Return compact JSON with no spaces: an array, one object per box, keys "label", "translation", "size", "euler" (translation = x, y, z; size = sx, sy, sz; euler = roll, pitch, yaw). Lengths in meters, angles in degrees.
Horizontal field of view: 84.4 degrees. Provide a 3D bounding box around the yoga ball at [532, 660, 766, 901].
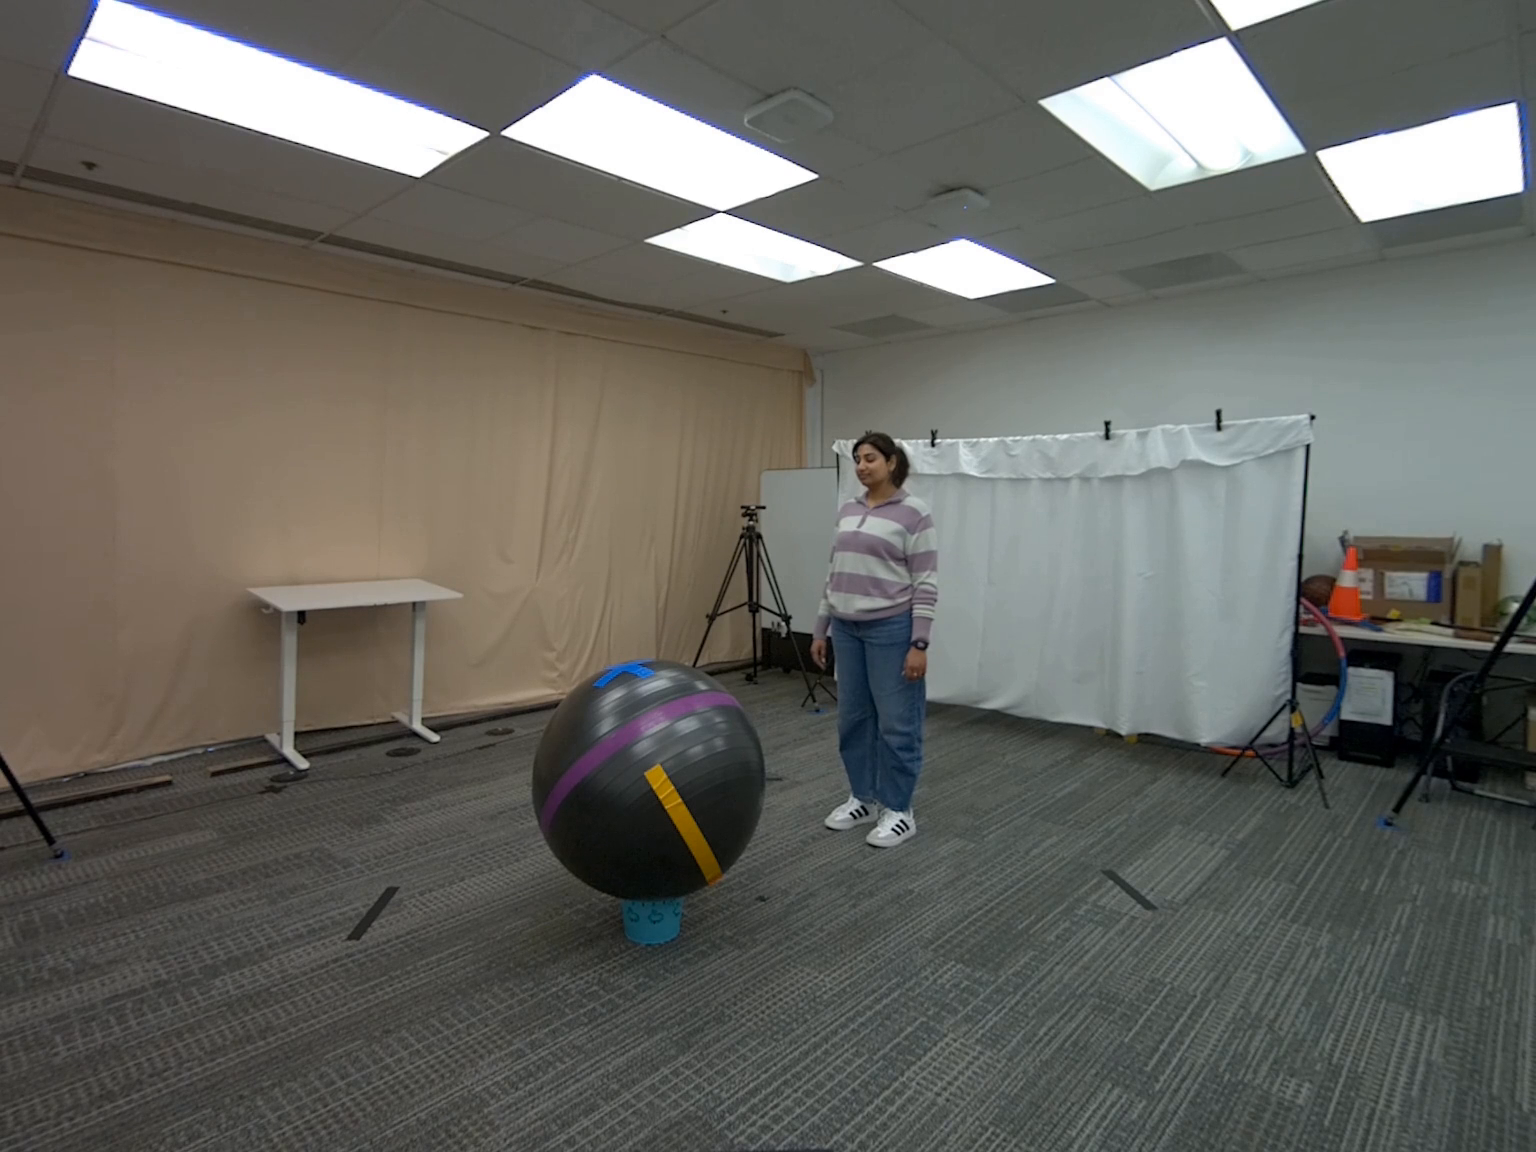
[{"label":"yoga ball","translation":[-0.392,0.657,2.746],"size":[0.757,0.756,0.760],"euler":[0,4,-2]}]
